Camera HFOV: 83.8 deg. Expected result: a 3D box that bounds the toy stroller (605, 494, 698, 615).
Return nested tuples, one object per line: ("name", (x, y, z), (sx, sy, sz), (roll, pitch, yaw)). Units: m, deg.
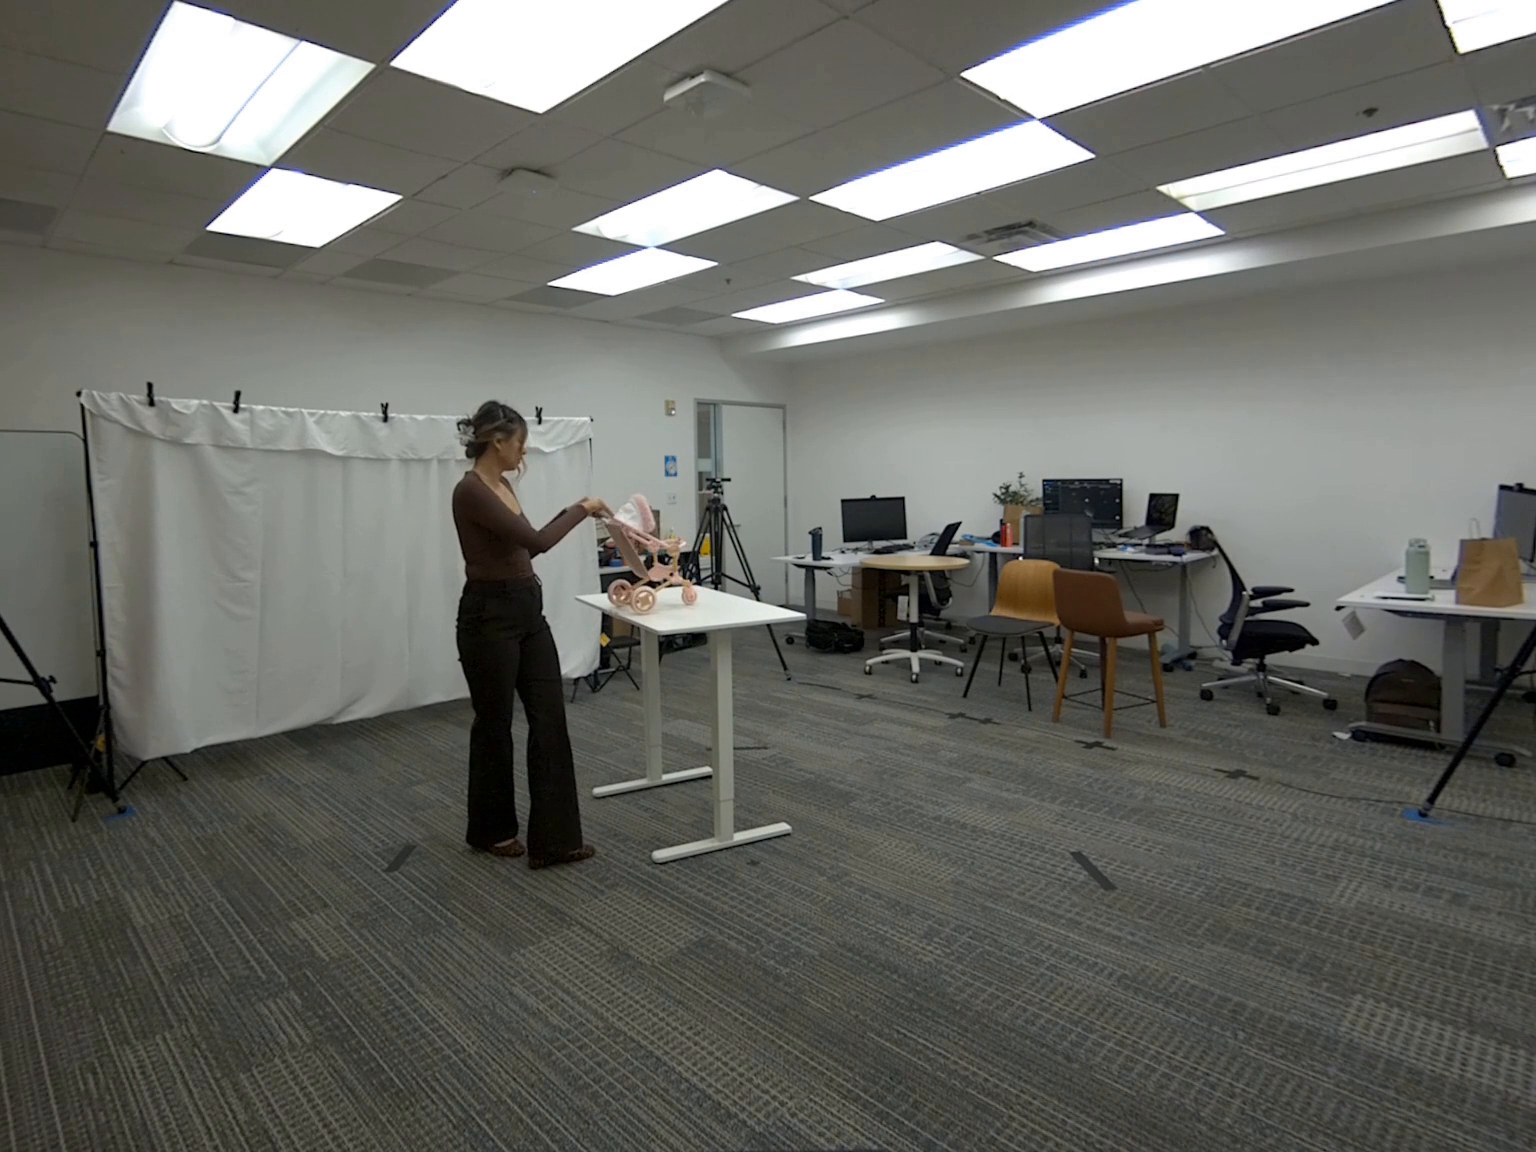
("toy stroller", (-0.489, -0.087, 3.400), (0.337, 0.527, 0.289), (-21, 14, -22))
